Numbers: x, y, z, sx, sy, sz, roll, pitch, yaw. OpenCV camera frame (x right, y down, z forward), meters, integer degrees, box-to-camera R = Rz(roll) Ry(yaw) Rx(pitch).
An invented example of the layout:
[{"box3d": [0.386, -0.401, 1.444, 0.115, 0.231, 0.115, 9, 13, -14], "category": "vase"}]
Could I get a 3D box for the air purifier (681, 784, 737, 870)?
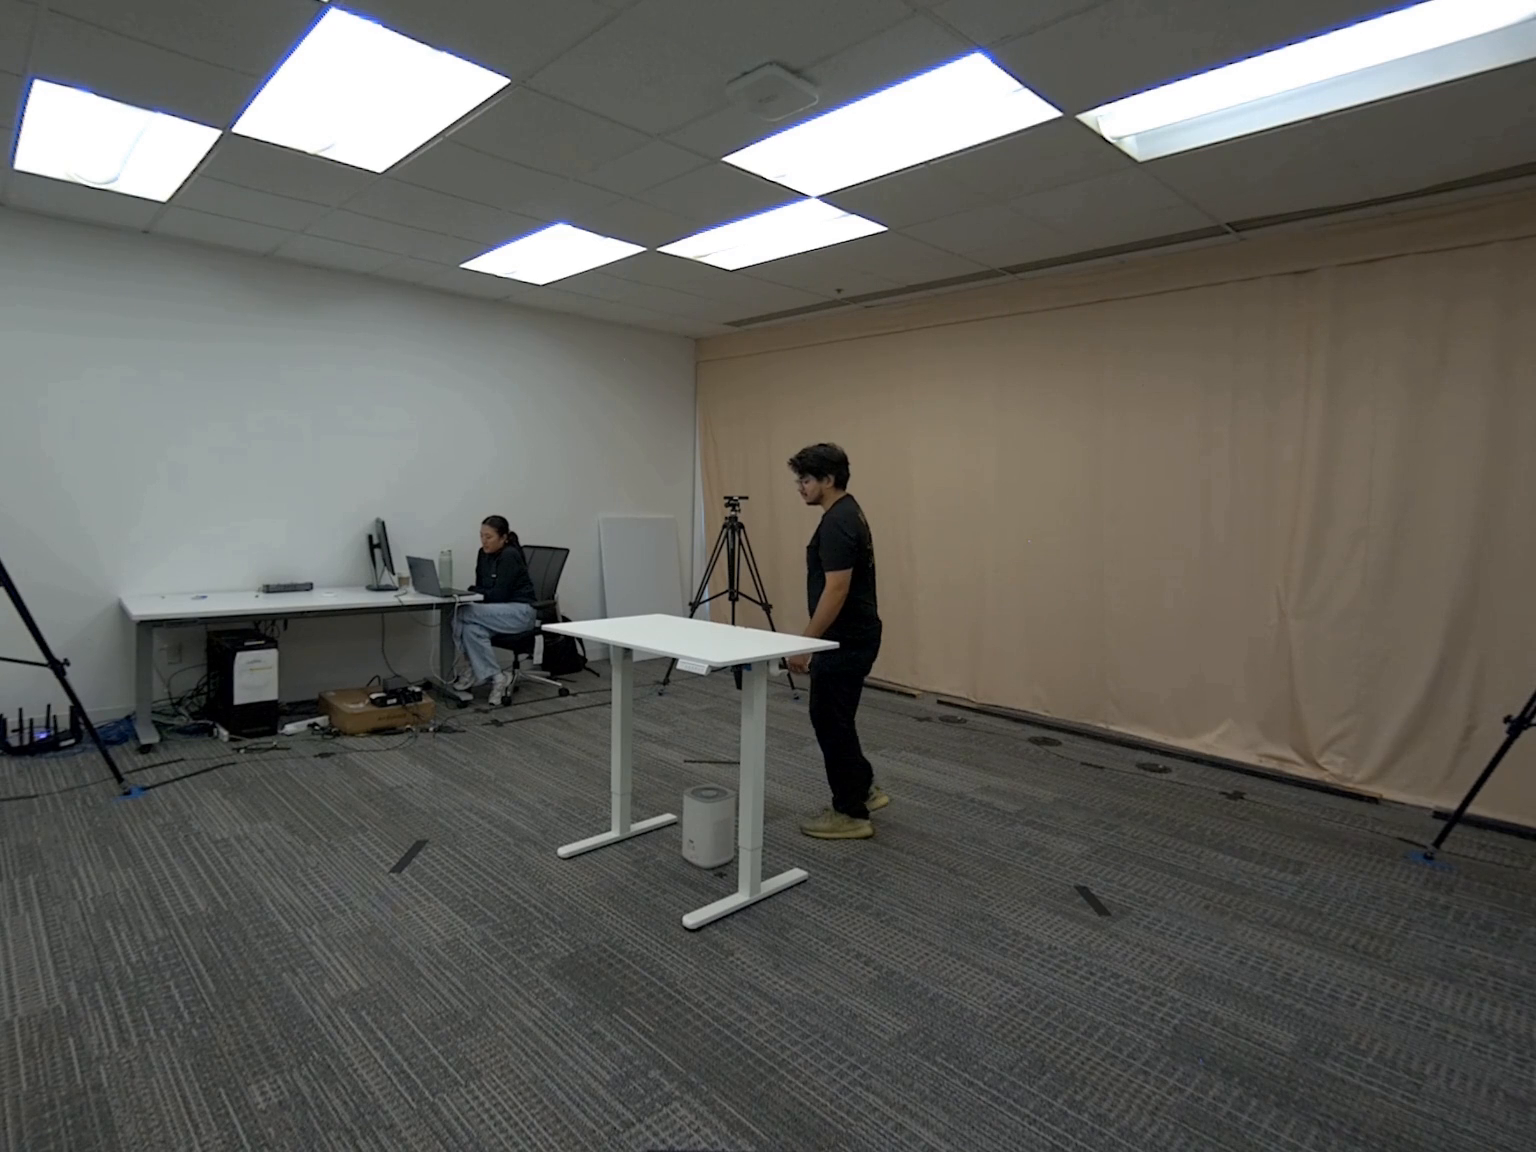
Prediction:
[{"box3d": [-0.231, 0.955, 3.217, 0.175, 0.264, 0.168, 5, 6, 45], "category": "air purifier"}]
